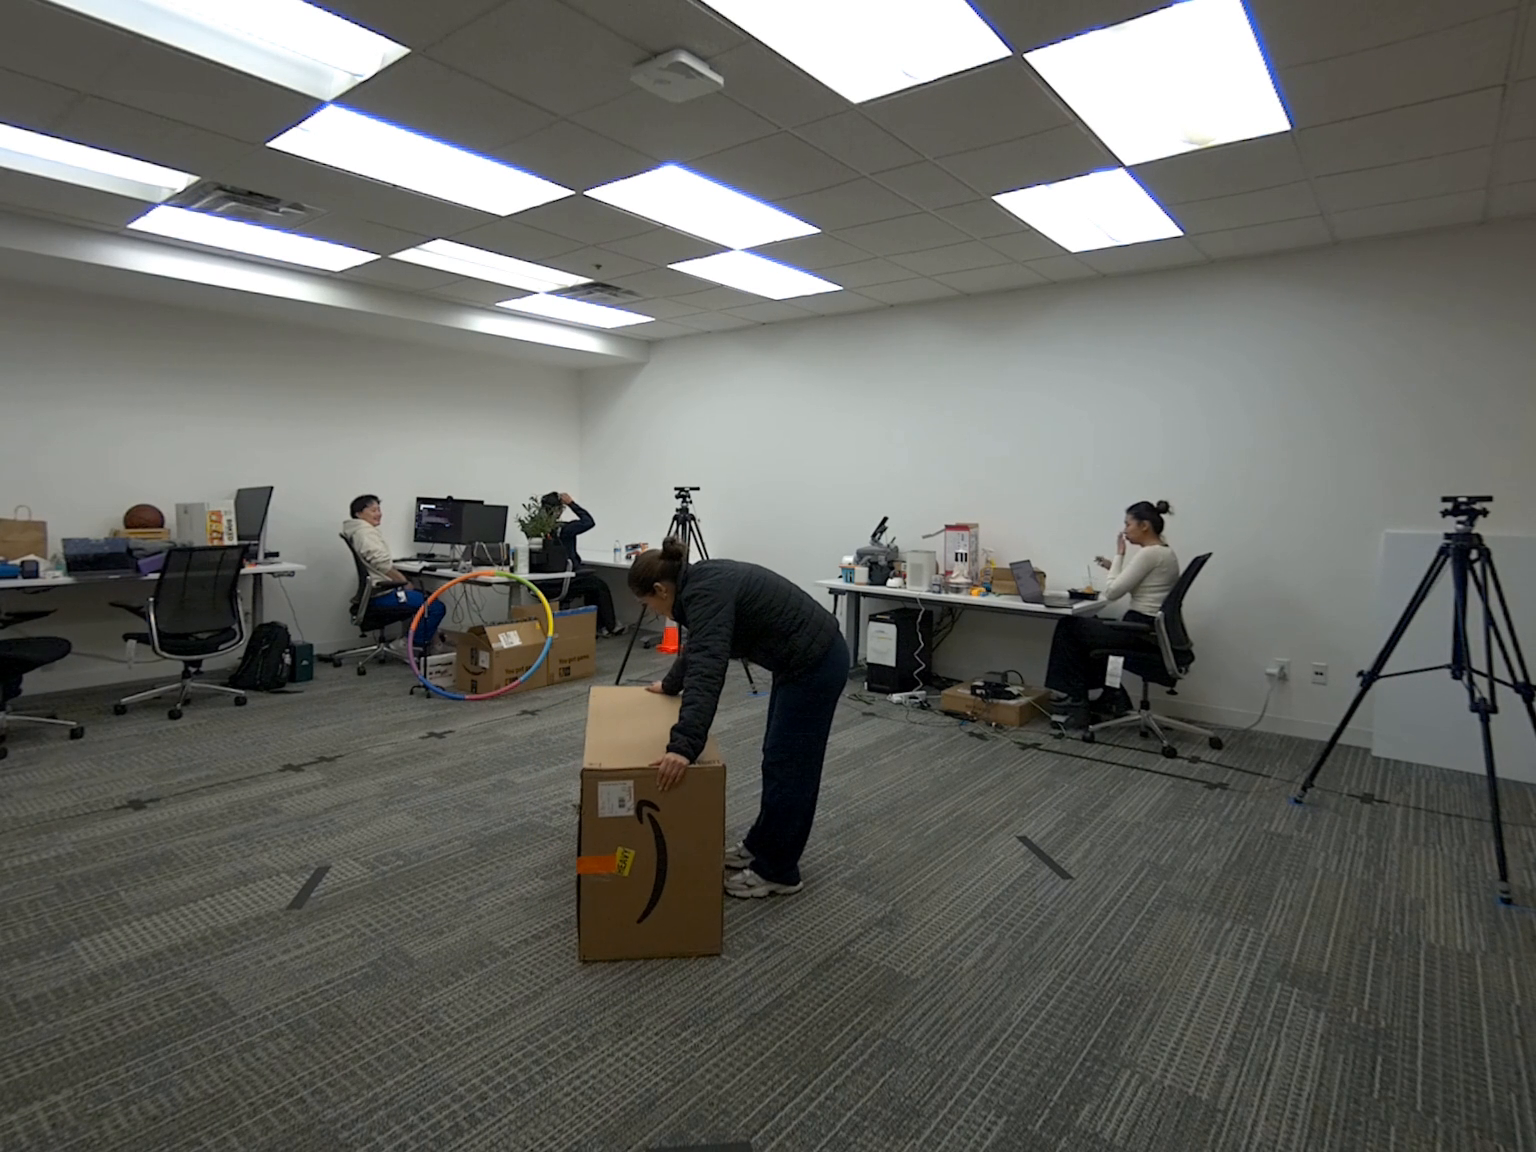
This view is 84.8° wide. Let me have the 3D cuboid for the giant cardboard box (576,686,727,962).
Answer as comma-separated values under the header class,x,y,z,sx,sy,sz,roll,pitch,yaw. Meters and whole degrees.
class,x,y,z,sx,sy,sz,roll,pitch,yaw
giant cardboard box,-0.428,0.785,3.005,0.443,0.582,1.039,2,4,-9
